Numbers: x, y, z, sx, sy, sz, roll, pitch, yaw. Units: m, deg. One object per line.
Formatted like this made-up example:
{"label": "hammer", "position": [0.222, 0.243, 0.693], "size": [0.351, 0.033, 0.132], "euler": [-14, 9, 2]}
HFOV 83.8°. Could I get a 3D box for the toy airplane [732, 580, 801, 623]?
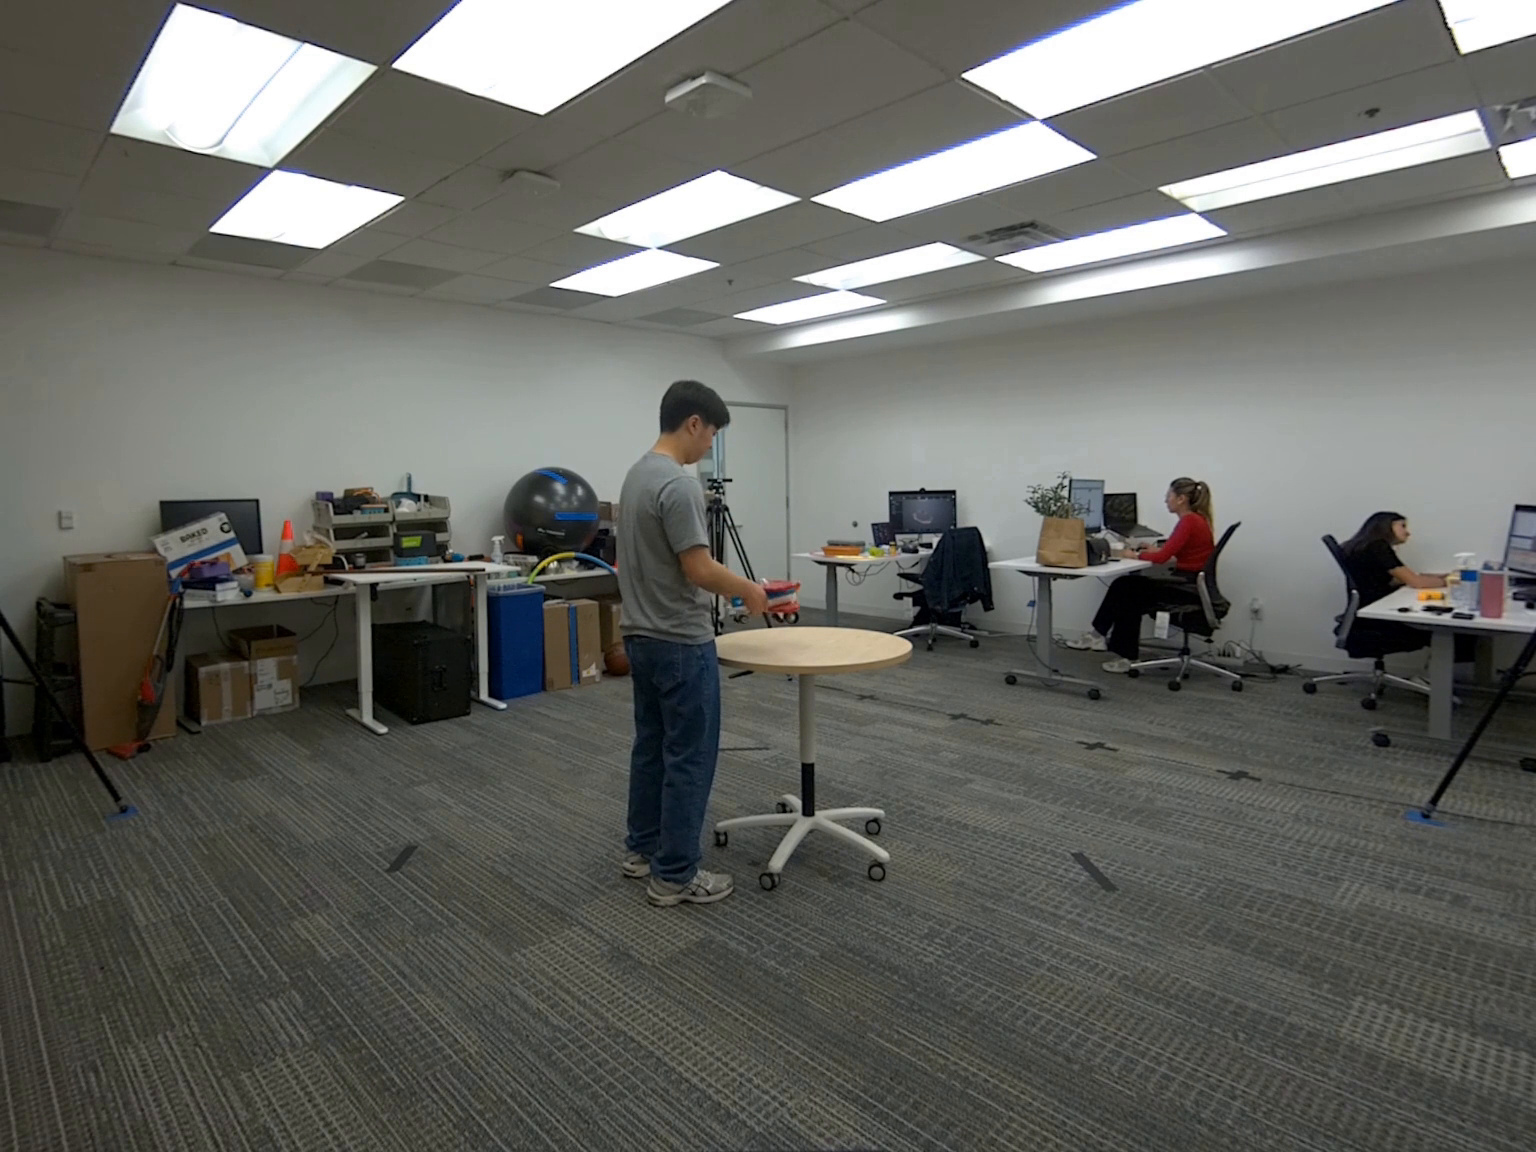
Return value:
{"label": "toy airplane", "position": [-0.007, 0.088, 3.019], "size": [0.258, 0.157, 0.251], "euler": [0, -1, 40]}
